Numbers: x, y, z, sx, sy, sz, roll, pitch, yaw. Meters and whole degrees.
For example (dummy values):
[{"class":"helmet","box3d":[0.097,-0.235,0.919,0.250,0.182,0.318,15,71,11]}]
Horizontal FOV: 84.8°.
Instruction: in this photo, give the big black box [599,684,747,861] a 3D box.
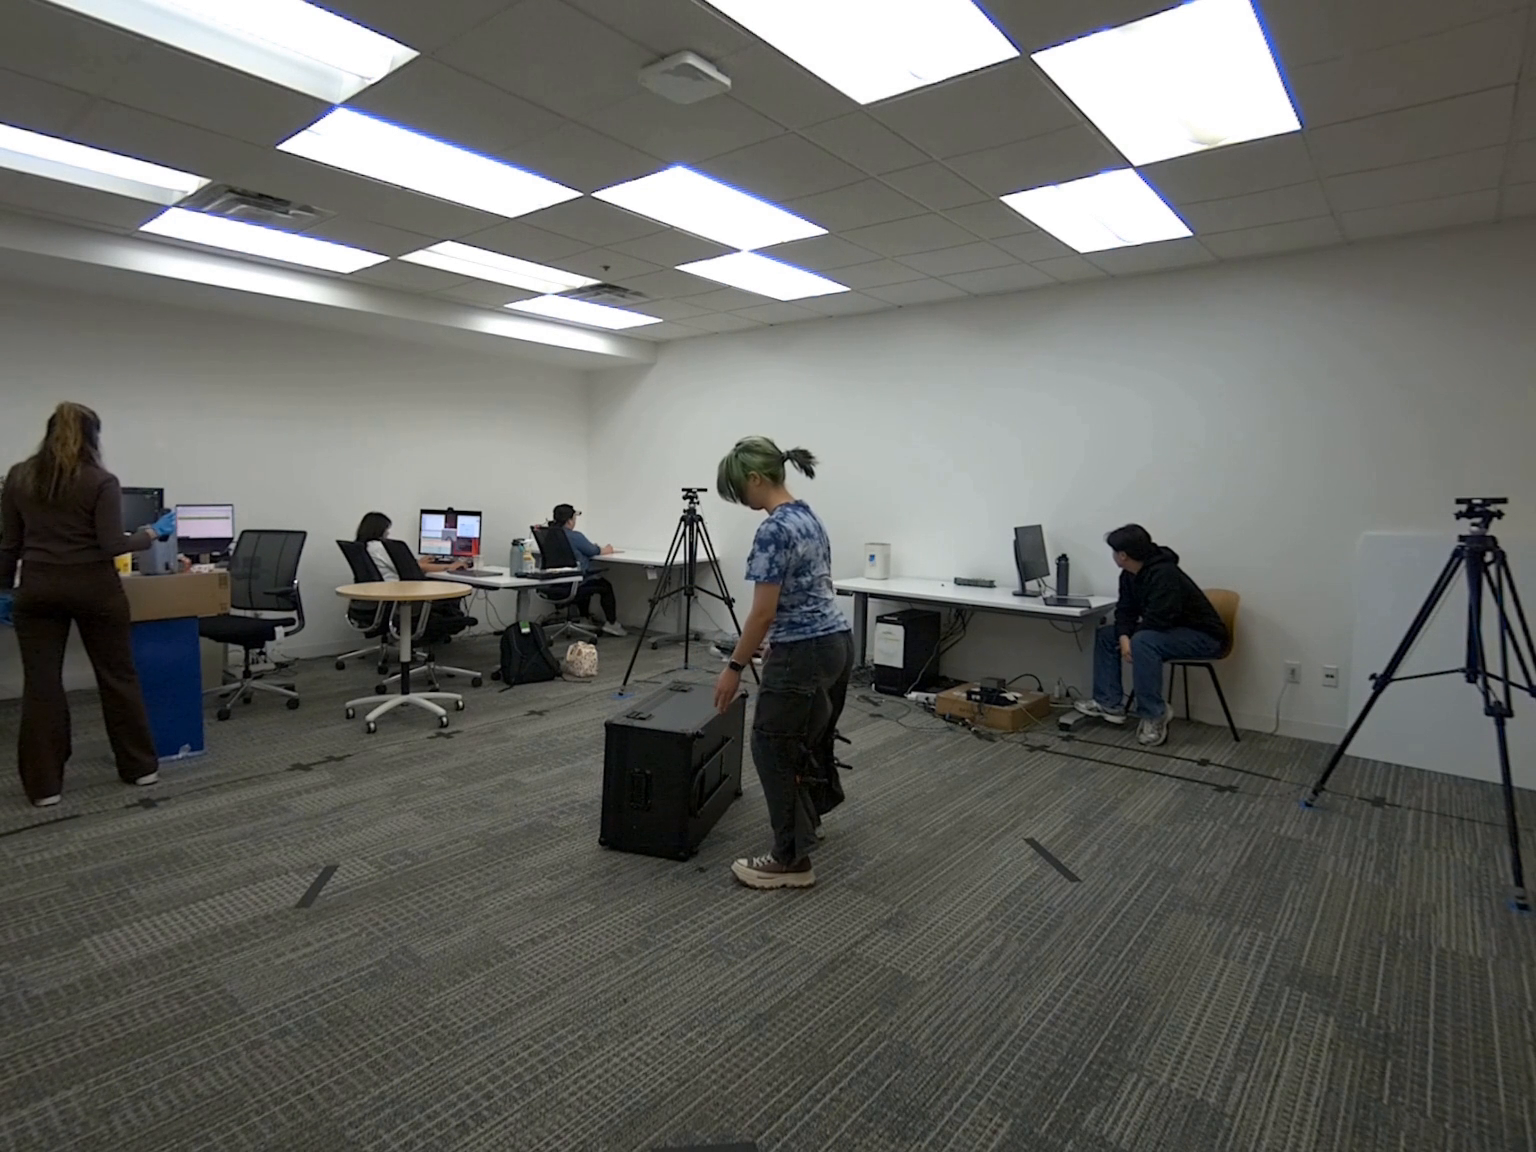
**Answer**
[{"class":"big black box","box3d":[-0.358,0.763,3.594,0.403,0.519,0.851,4,6,14]}]
